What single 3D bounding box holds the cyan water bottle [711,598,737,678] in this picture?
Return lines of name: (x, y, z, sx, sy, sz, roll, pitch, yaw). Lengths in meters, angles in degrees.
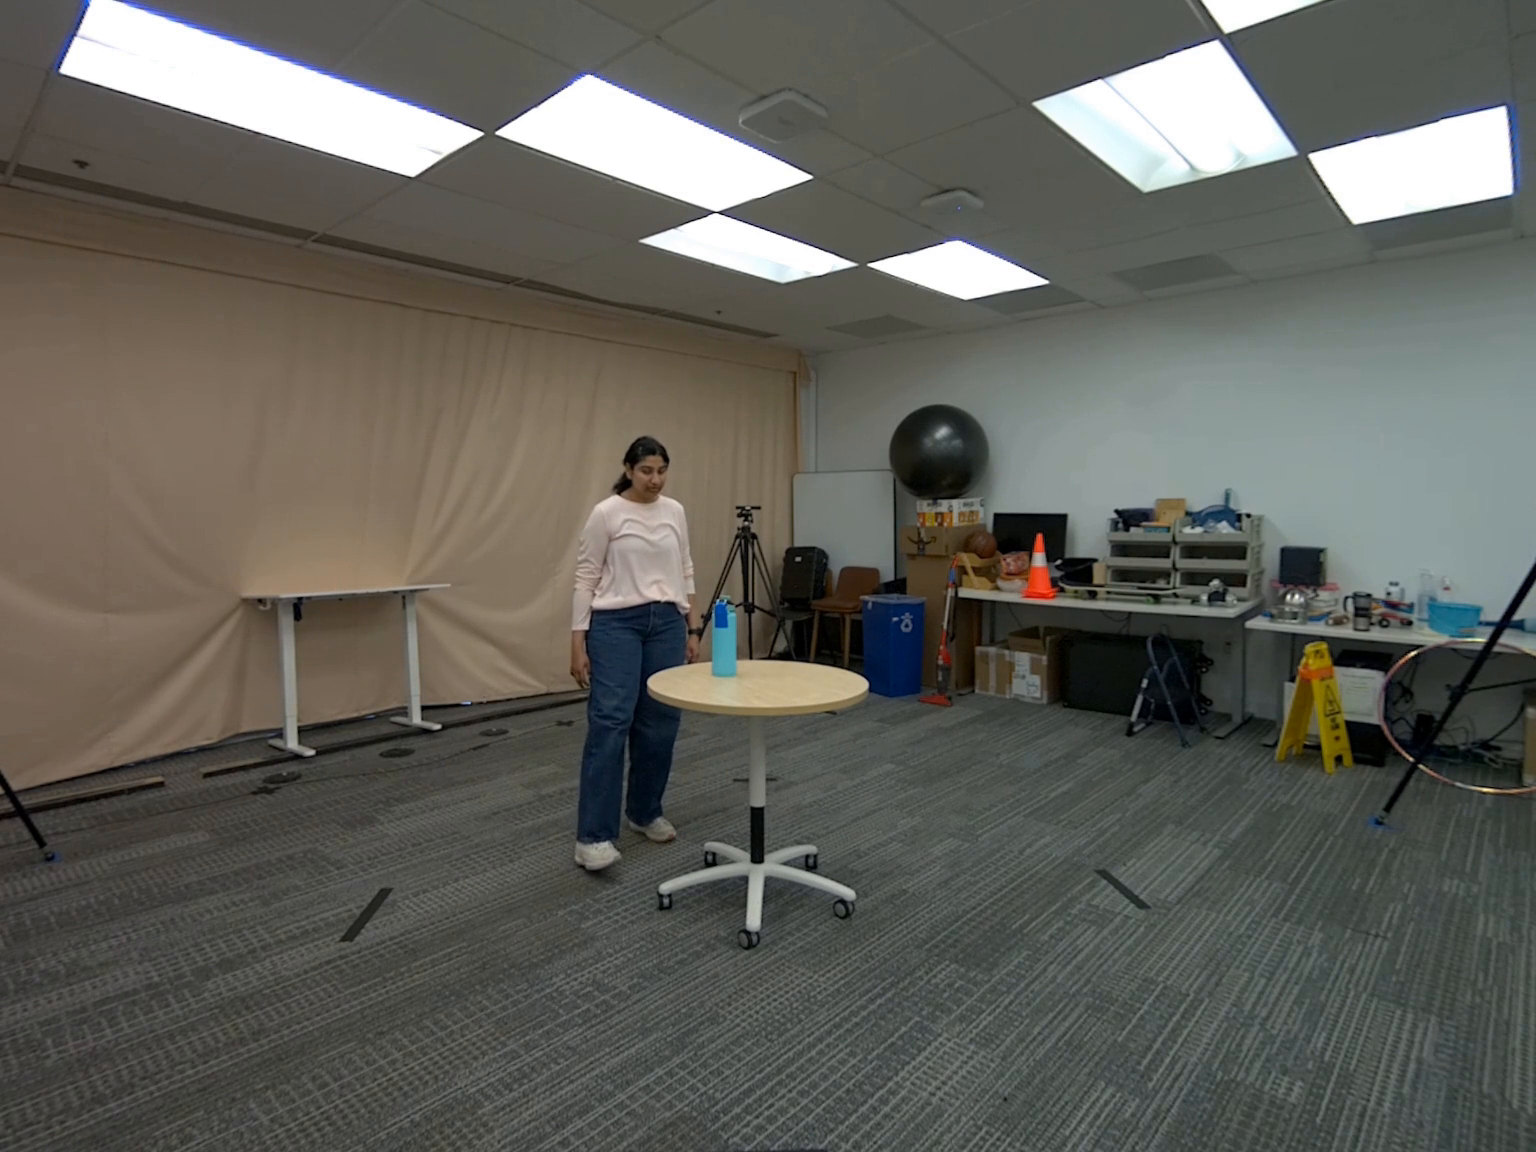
cyan water bottle: (-0.152, 0.215, 3.028, 0.092, 0.283, 0.092, 0, 3, -2)
